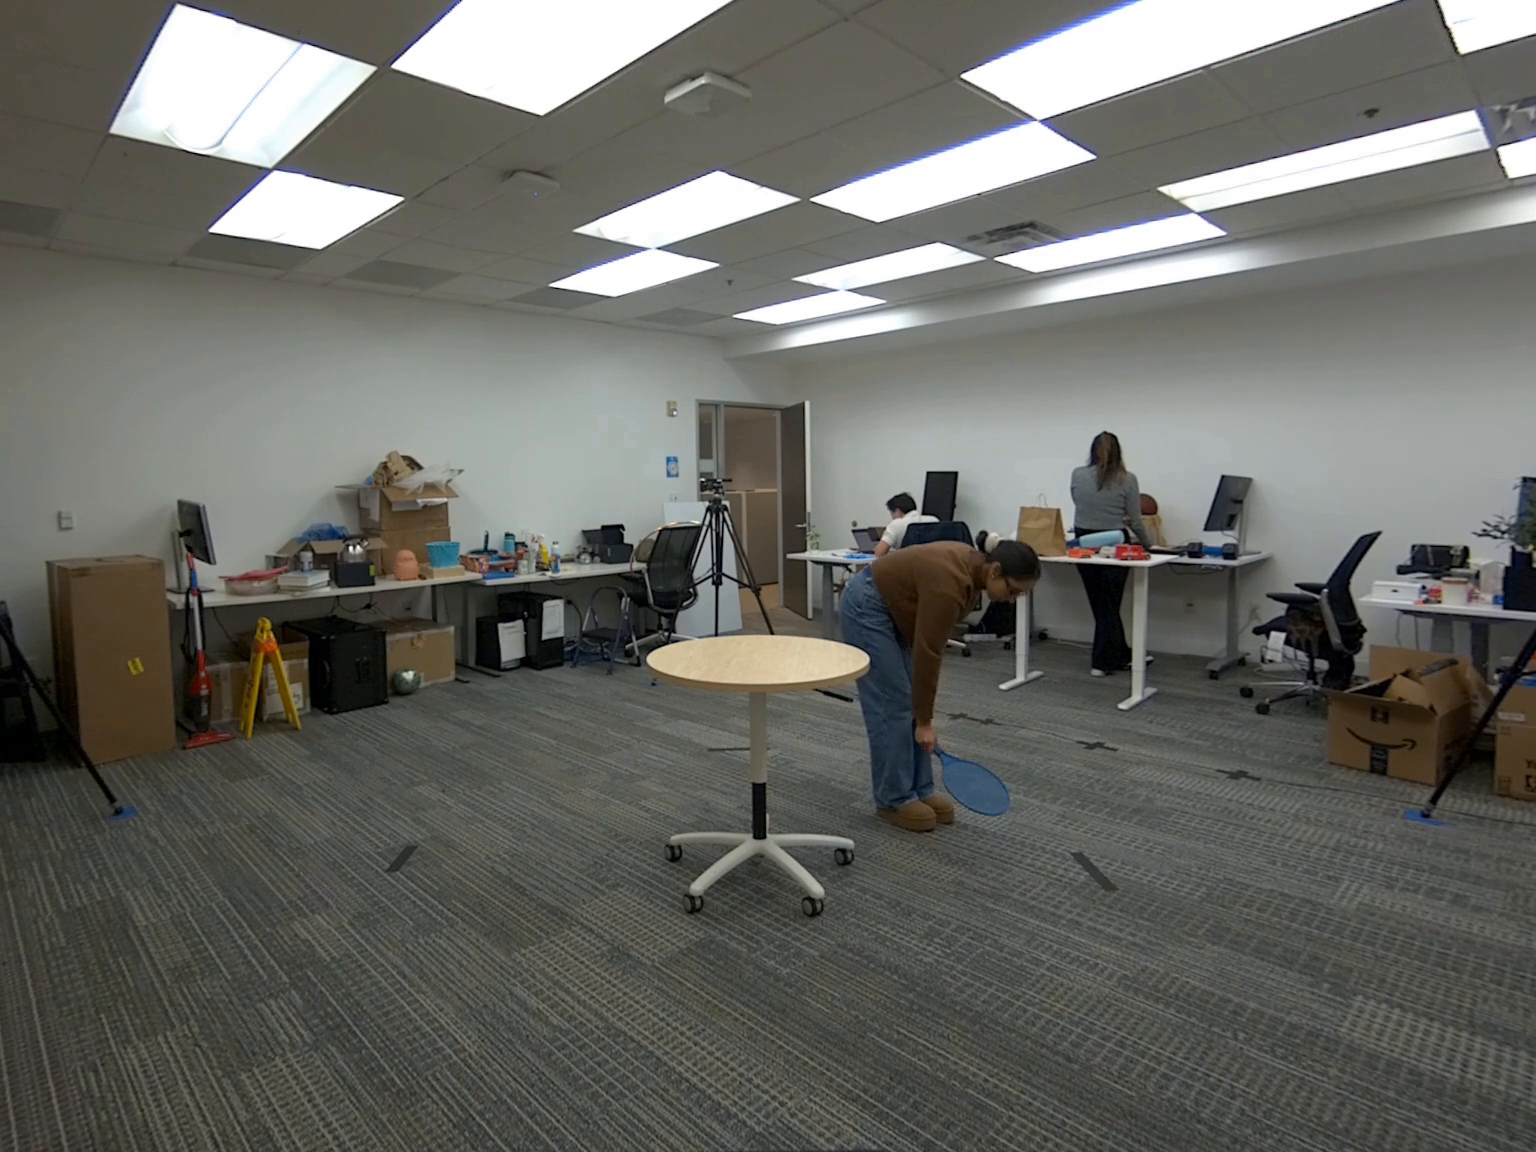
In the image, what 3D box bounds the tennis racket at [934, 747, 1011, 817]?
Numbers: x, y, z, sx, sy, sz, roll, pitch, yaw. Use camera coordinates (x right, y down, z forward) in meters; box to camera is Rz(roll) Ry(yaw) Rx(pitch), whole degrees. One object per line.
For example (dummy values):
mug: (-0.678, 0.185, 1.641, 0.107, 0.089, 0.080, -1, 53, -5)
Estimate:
tennis racket: (0.721, 0.722, 3.165, 0.210, 0.031, 0.450, -18, 39, -28)
